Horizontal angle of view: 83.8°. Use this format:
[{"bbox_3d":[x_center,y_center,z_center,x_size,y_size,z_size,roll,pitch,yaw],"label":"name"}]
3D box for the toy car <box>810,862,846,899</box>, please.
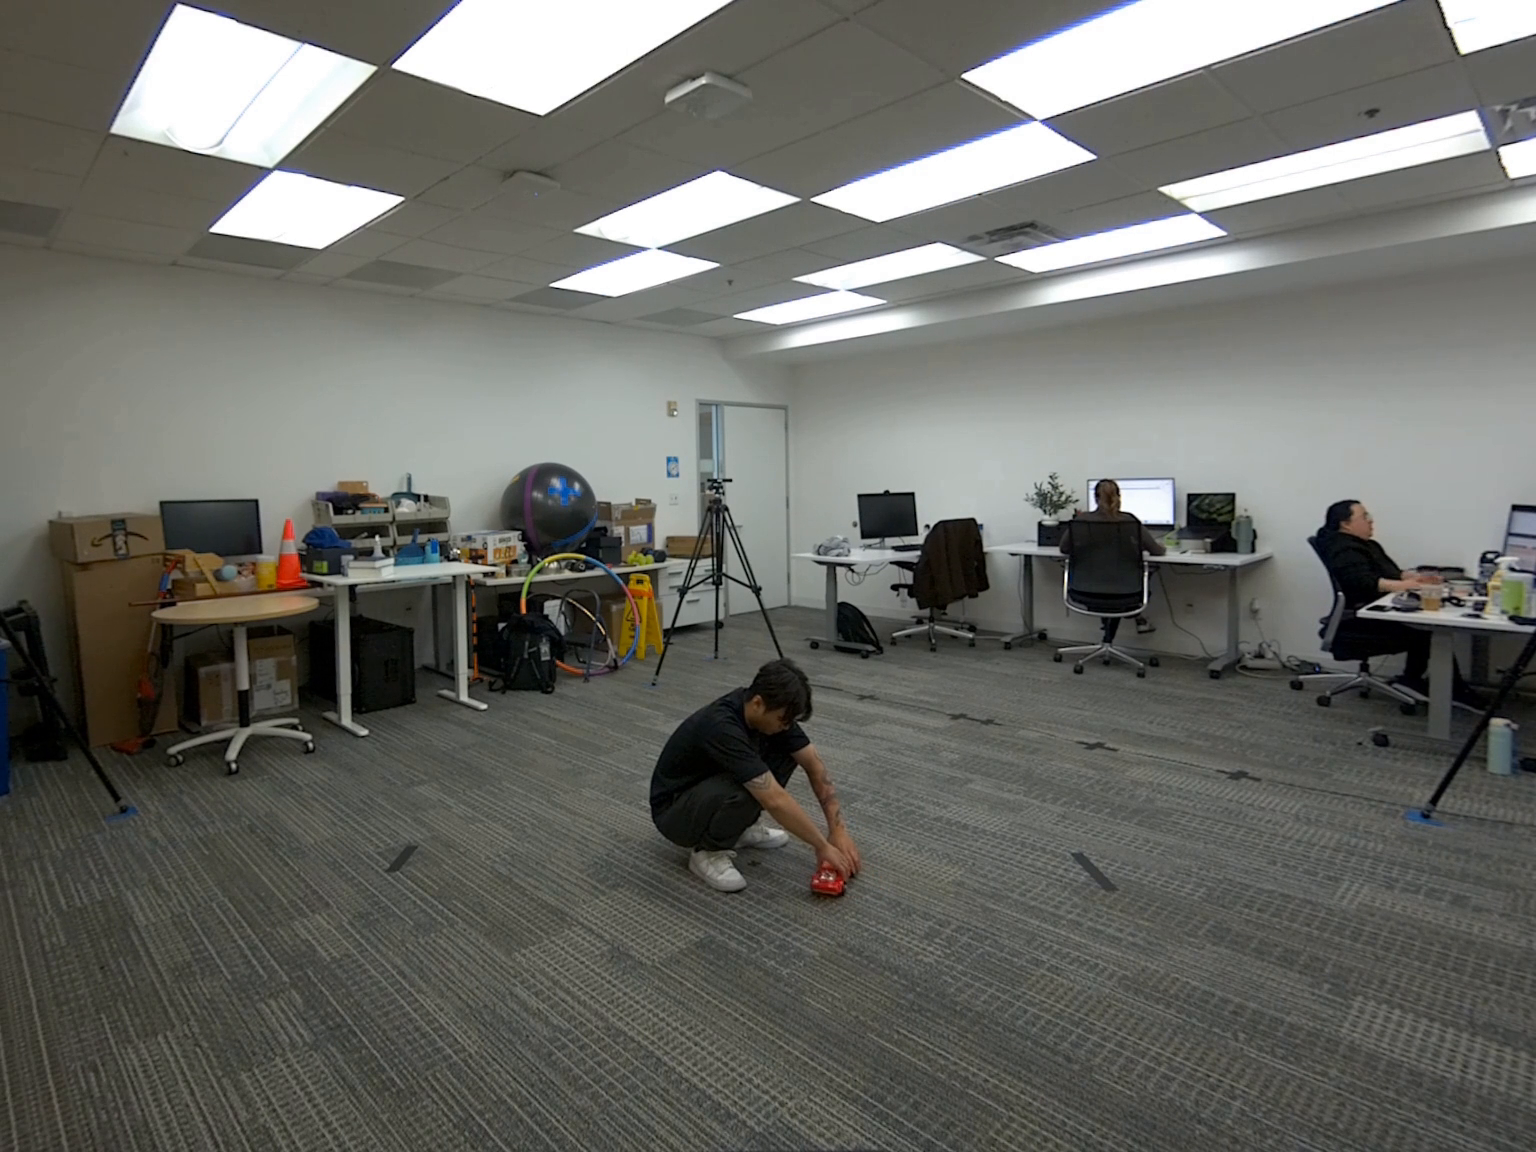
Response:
[{"bbox_3d":[0.219,1.025,2.915,0.133,0.083,0.248,3,-5,19],"label":"toy car"}]
